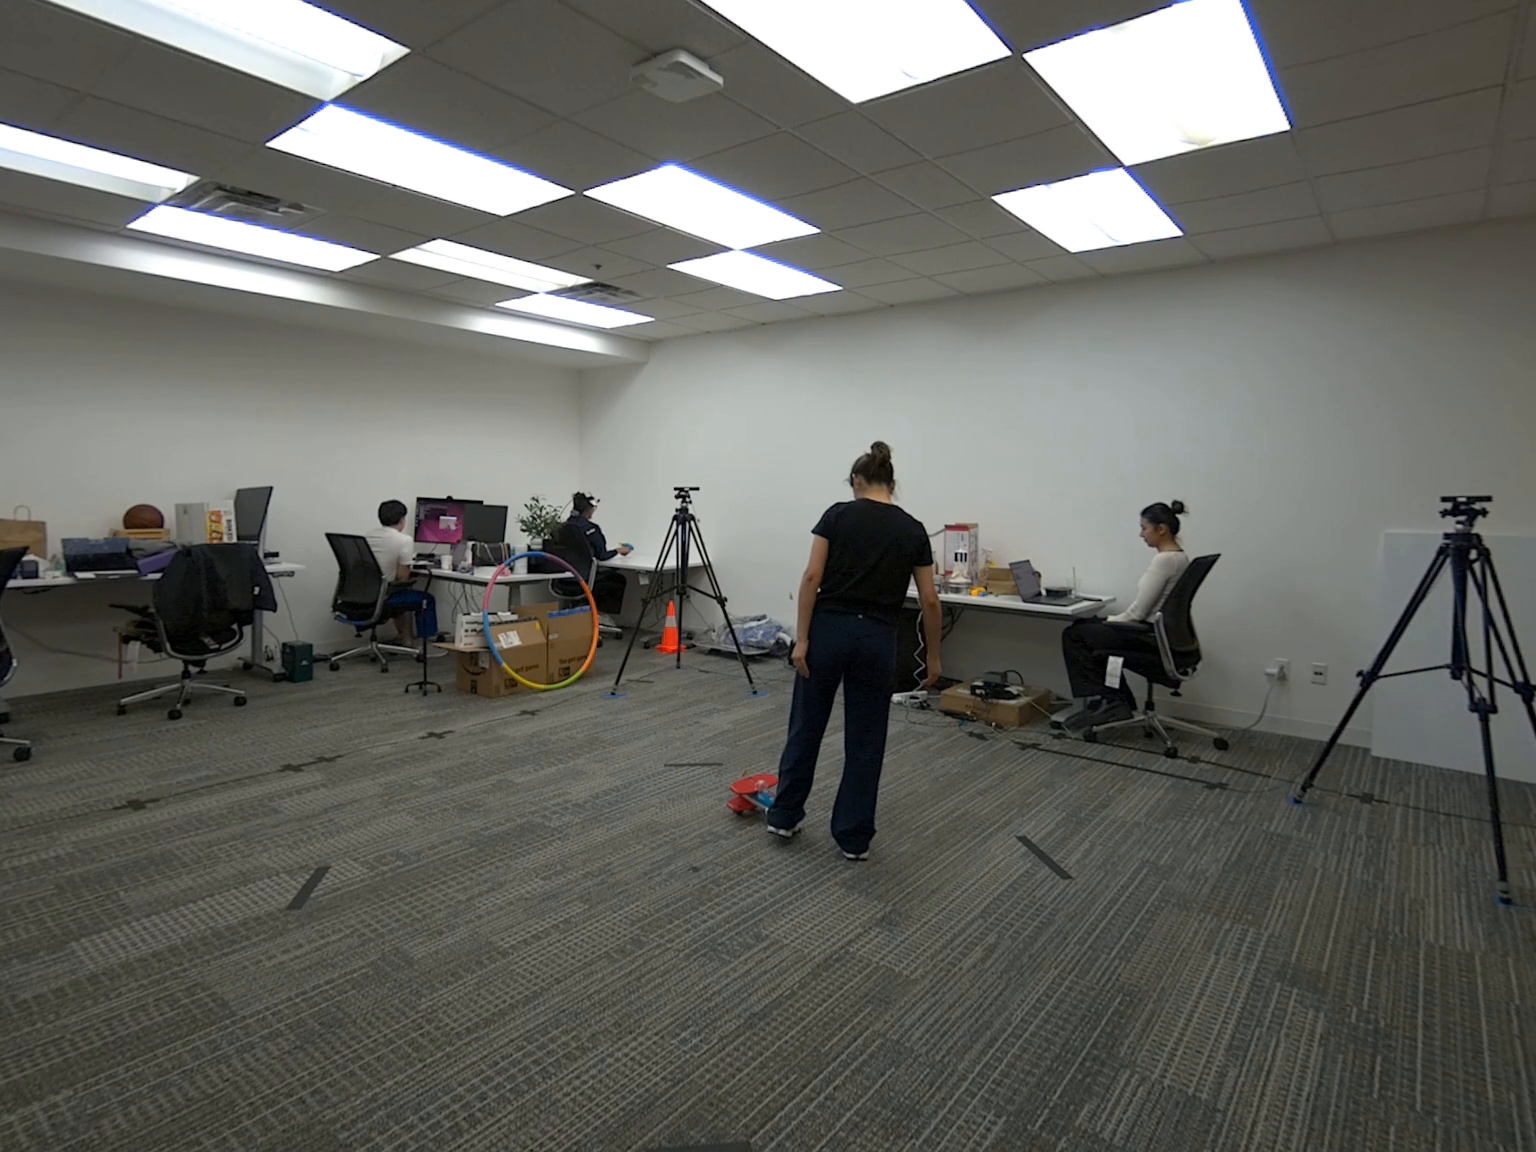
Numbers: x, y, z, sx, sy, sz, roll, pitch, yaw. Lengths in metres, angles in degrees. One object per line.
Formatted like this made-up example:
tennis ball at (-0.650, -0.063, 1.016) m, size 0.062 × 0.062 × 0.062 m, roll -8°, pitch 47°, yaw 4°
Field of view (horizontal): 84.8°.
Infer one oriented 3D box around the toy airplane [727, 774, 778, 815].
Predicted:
toy airplane at (-0.010, 0.937, 3.628) m, size 0.264 × 0.156 × 0.247 m, roll 0°, pitch 5°, yaw 18°
